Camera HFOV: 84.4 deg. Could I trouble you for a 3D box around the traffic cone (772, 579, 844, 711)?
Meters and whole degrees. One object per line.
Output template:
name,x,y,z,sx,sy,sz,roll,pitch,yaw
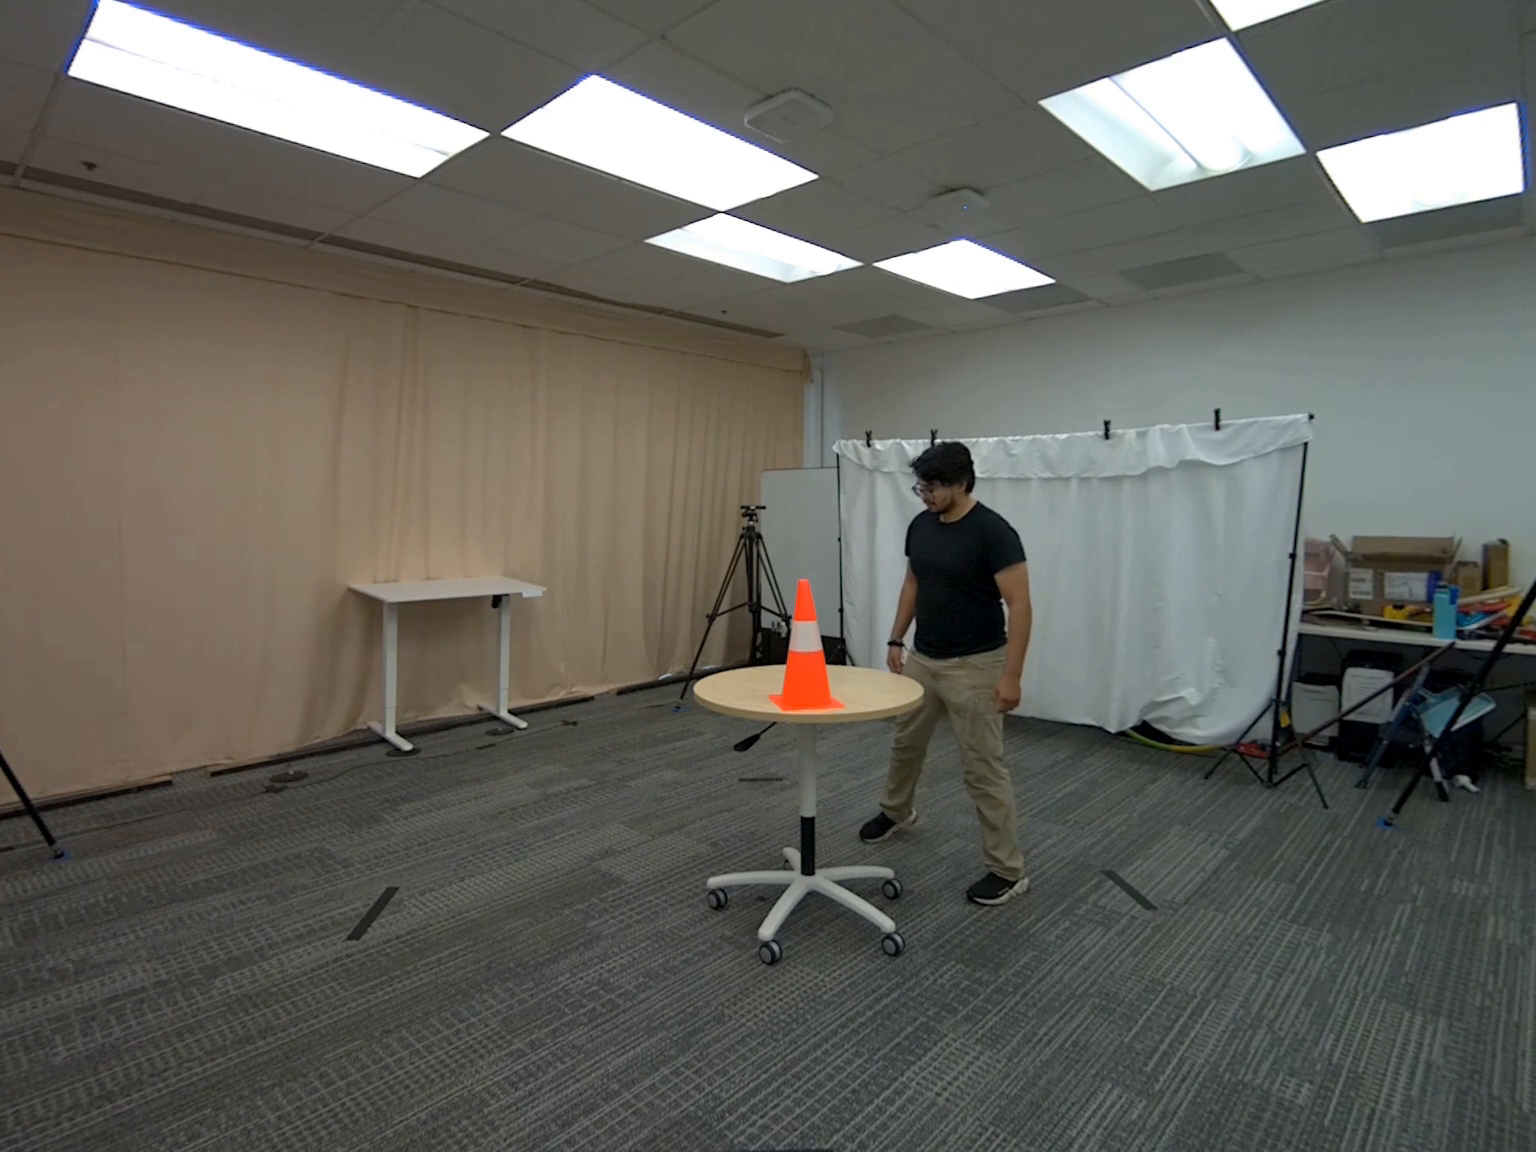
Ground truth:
traffic cone,0.124,0.206,2.597,0.199,0.383,0.210,0,1,-23
